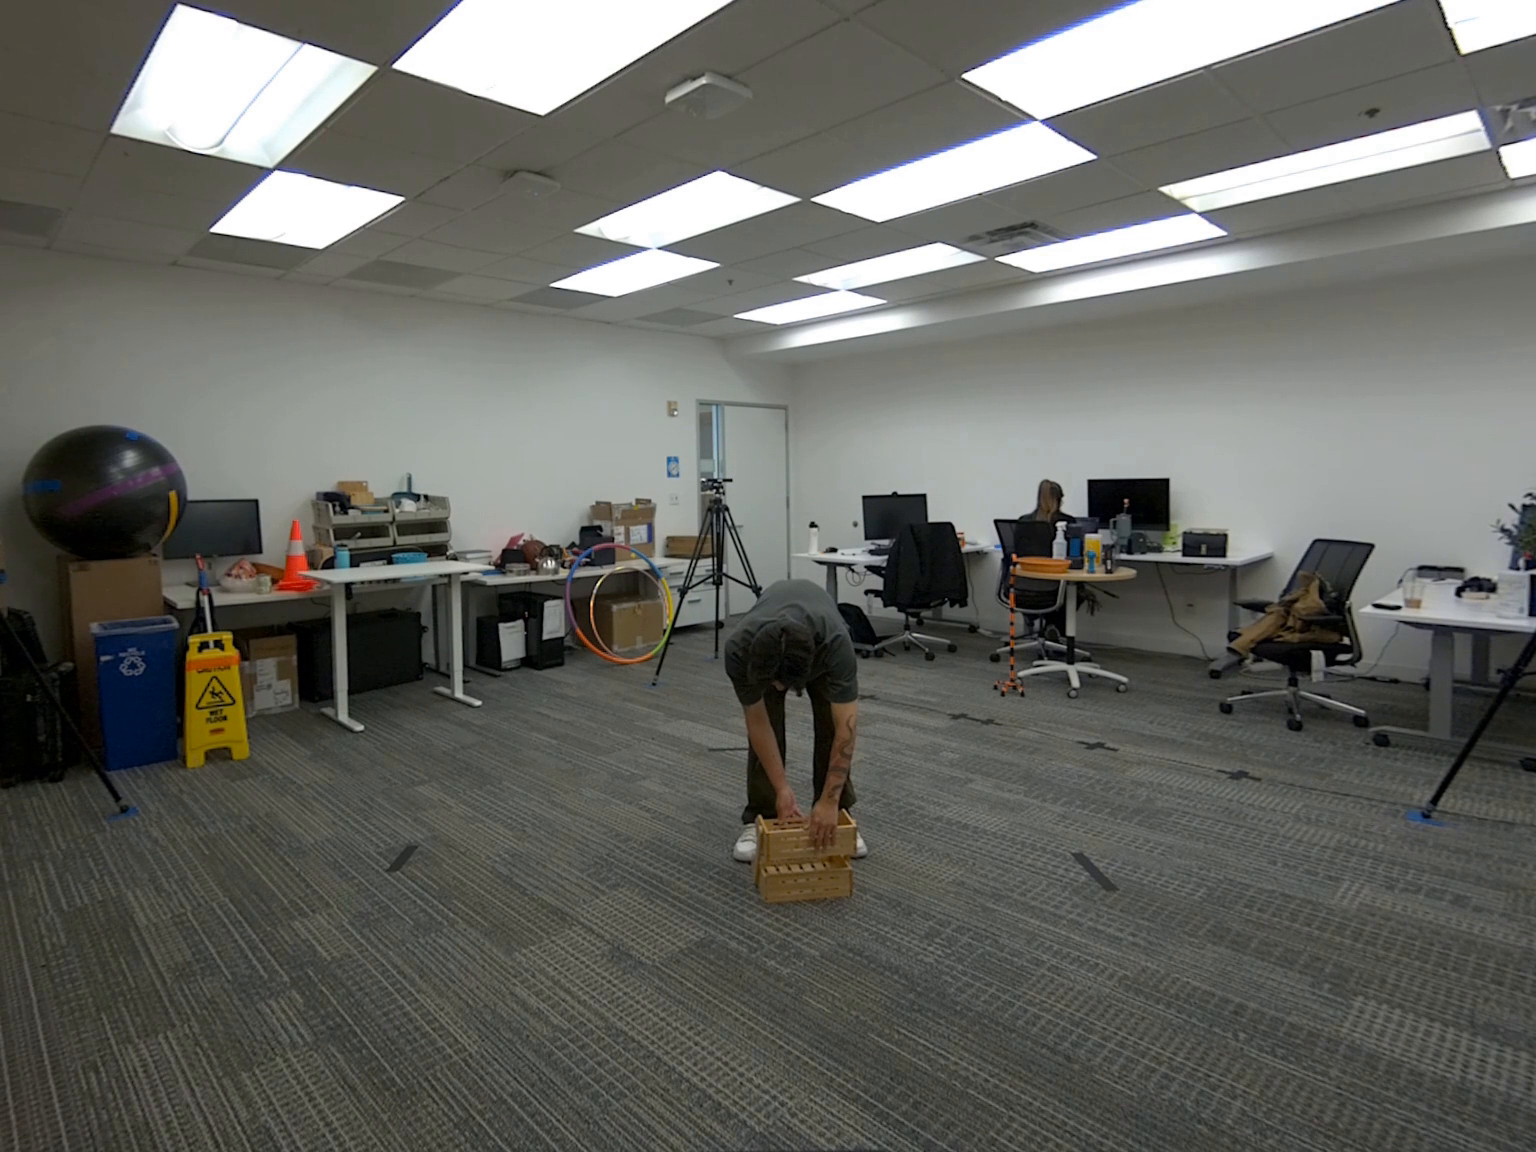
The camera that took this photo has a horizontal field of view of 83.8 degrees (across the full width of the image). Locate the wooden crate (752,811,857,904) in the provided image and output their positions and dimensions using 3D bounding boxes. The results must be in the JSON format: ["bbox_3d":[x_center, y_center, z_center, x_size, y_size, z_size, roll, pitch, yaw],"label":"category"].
[{"bbox_3d":[0.118,0.929,2.923,0.322,0.272,0.306,-2,6,-9],"label":"wooden crate"}]
